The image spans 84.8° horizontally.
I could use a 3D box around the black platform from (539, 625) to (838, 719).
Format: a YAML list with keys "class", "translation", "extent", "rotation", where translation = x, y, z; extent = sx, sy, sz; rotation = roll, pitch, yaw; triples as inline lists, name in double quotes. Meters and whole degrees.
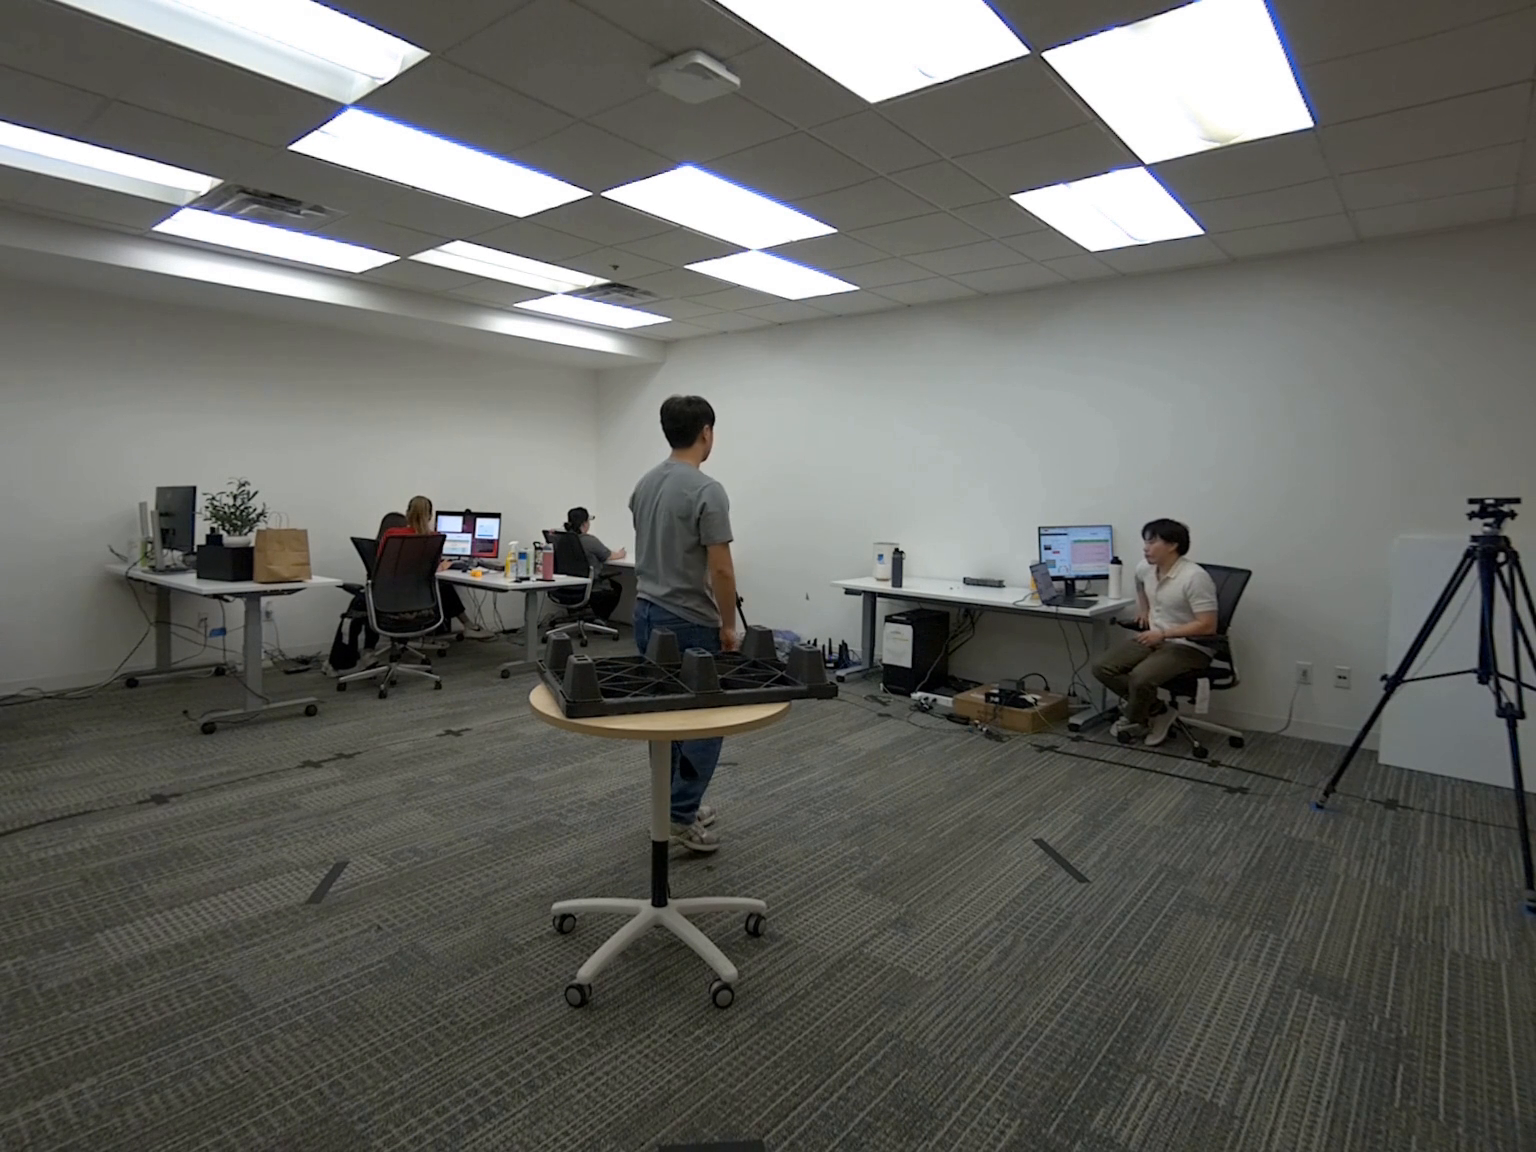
- class: "black platform"
  translation: [-0.277, 0.263, 2.624]
  extent: [0.789, 0.143, 0.620]
  rotation: [-1, 6, -21]
